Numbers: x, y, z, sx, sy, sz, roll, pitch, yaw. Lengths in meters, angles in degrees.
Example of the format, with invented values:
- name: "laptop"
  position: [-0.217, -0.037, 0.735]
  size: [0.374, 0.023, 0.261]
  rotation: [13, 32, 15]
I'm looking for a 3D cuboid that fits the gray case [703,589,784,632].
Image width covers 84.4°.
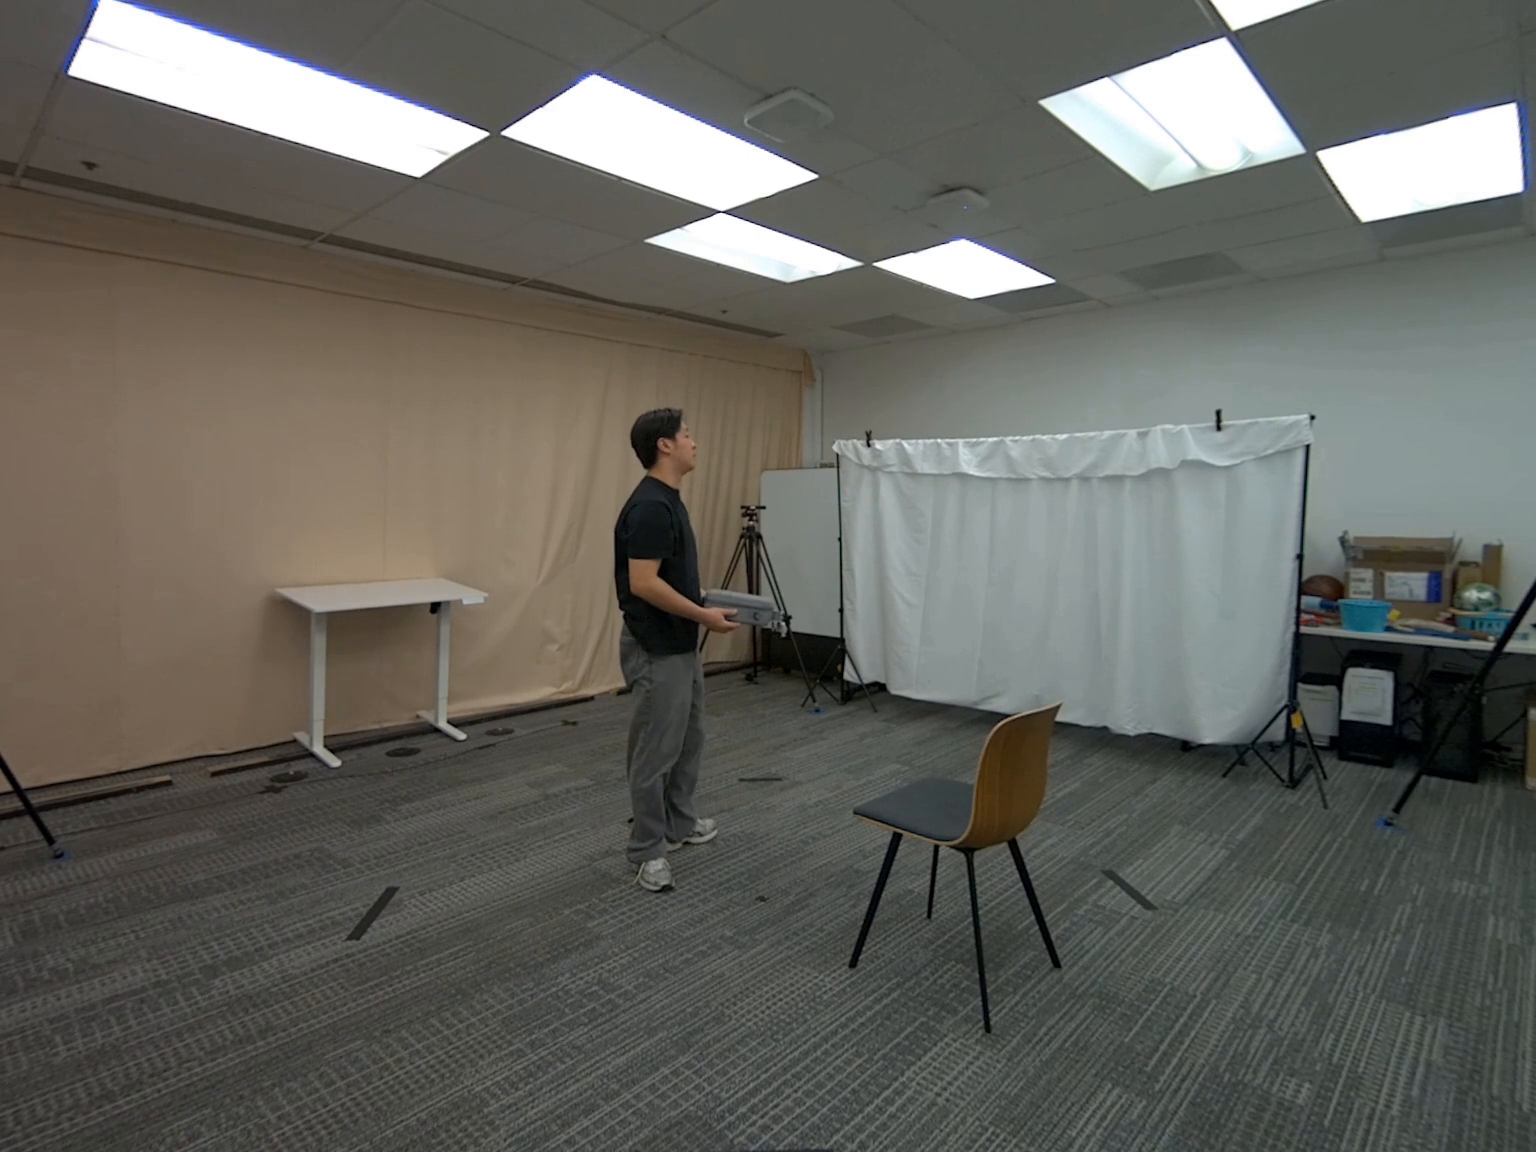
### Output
- name: "gray case"
  position: [-0.097, 0.115, 3.154]
  size: [0.288, 0.103, 0.262]
  rotation: [9, 1, 3]
